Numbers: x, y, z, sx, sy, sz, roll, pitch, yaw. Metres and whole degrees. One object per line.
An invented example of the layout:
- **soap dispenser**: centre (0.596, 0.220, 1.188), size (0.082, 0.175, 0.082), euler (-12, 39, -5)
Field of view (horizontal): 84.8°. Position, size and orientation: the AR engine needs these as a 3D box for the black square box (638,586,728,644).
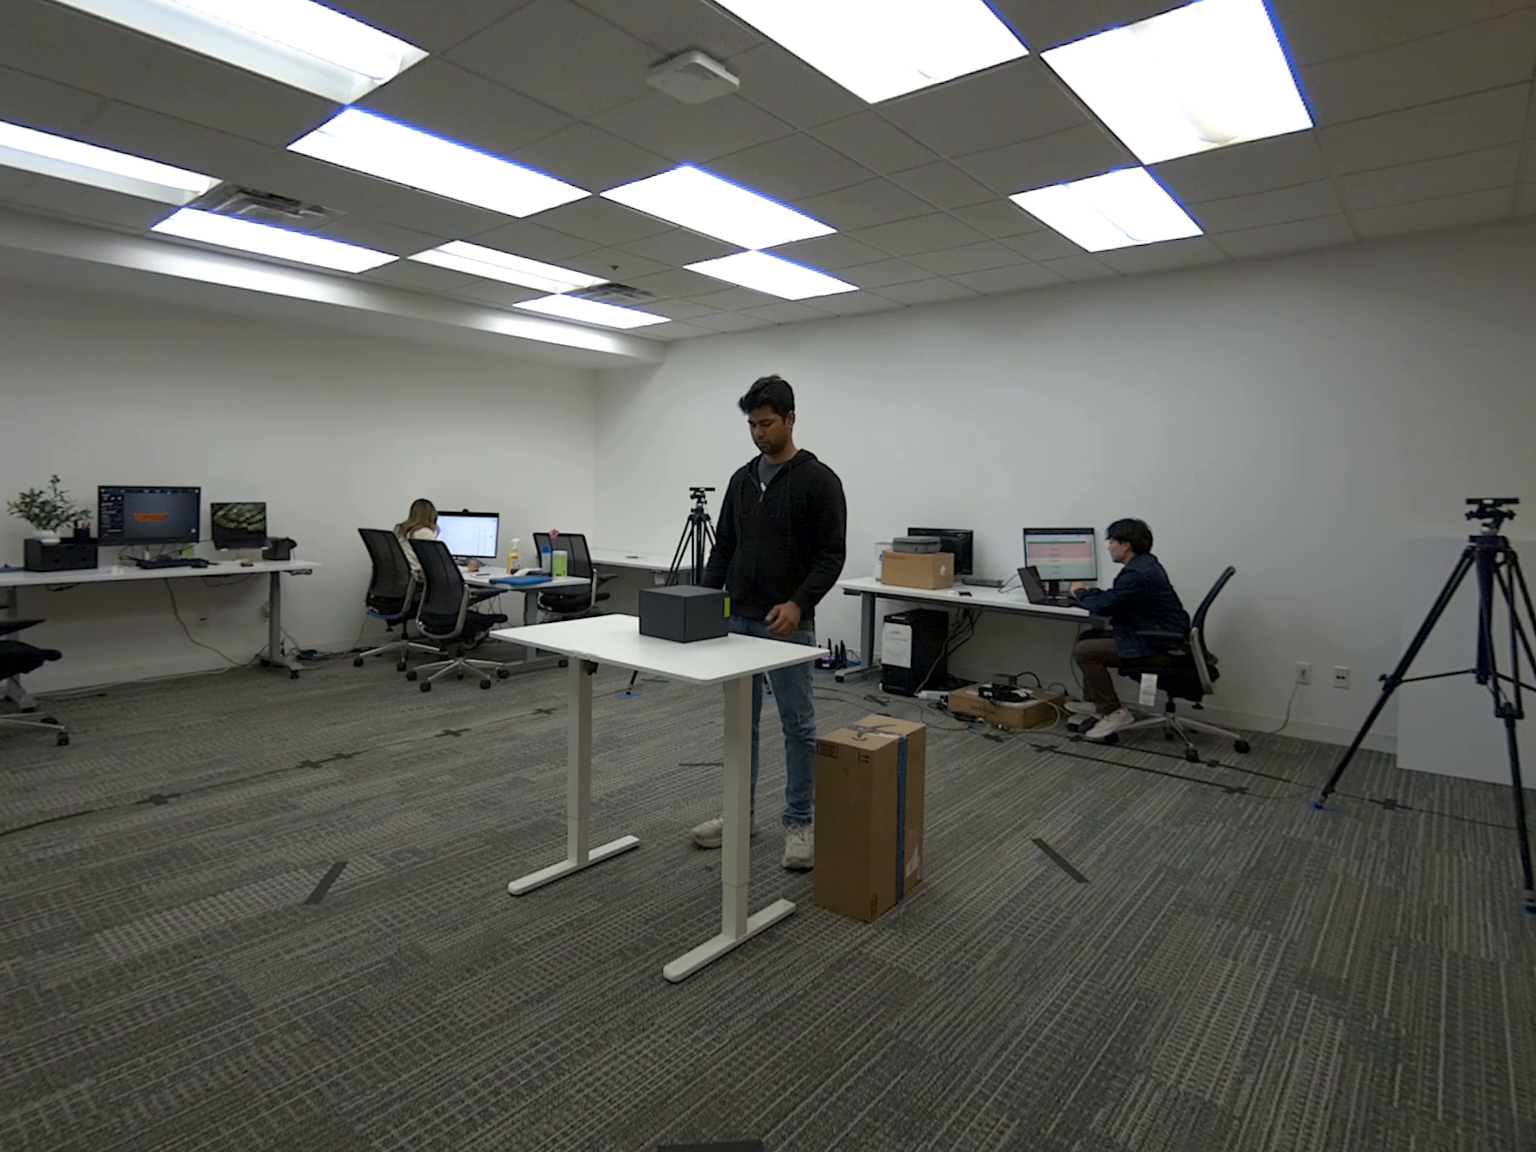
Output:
- **black square box**: centre (-0.295, 0.123, 2.907), size (0.236, 0.155, 0.210), euler (6, 7, 41)
